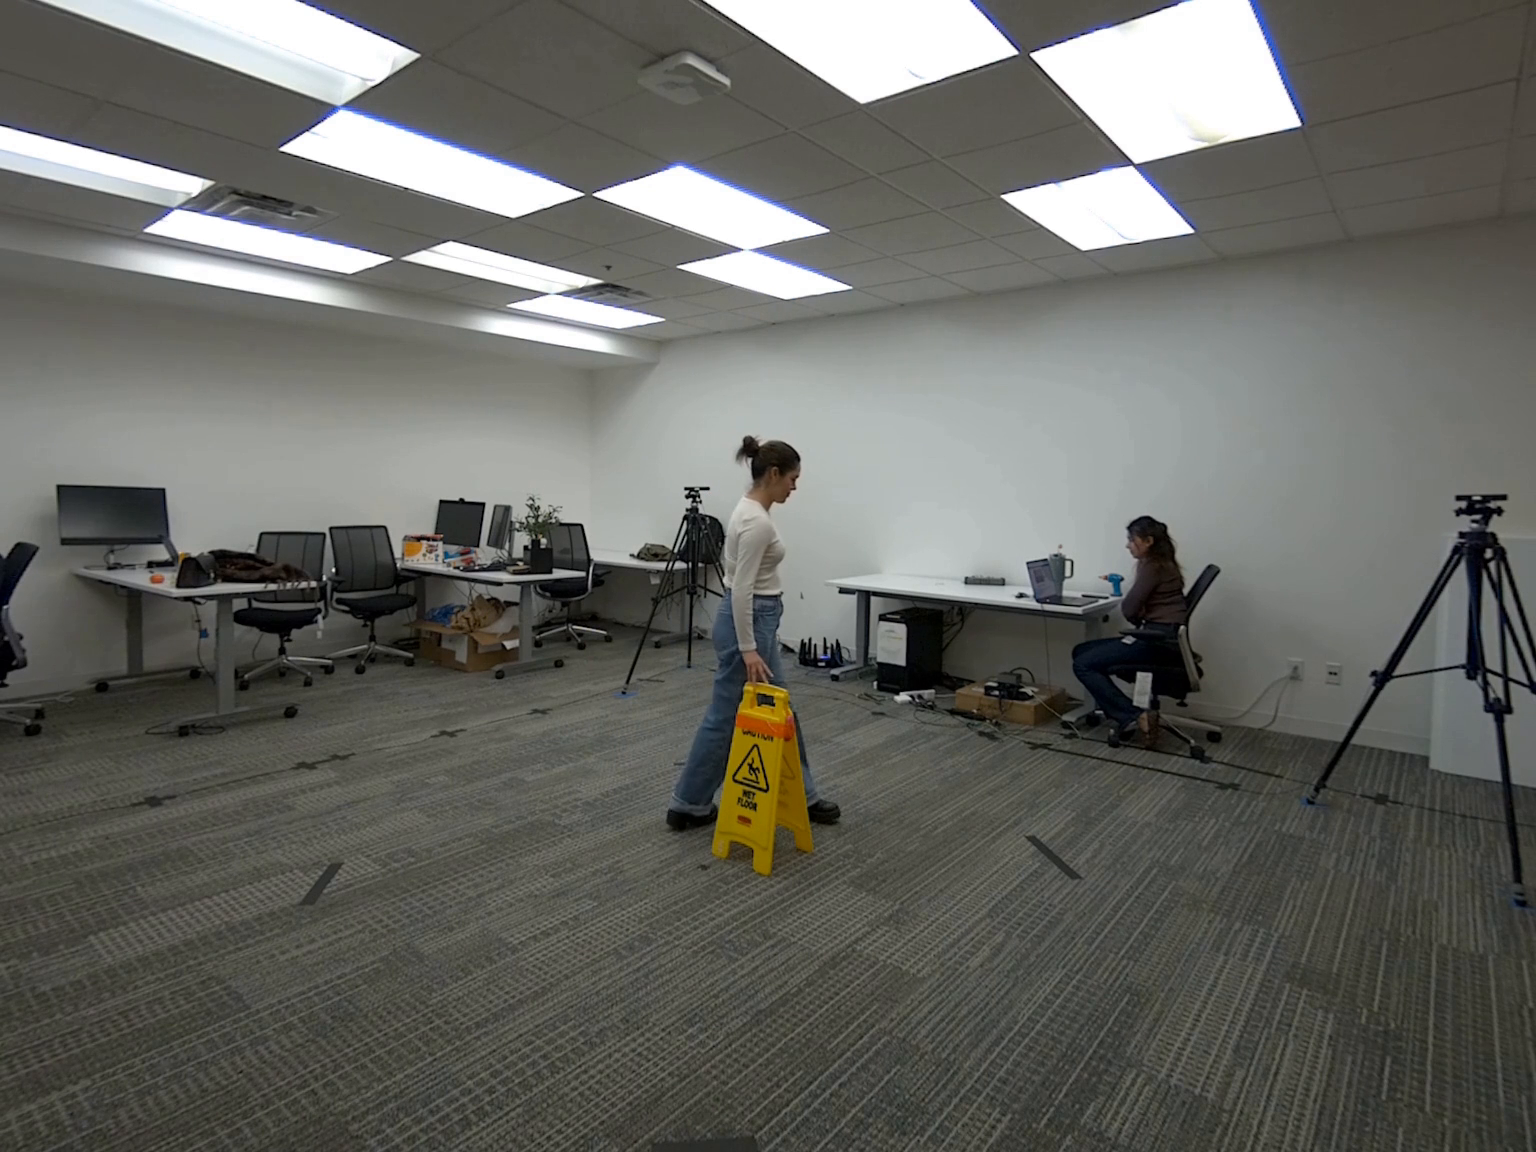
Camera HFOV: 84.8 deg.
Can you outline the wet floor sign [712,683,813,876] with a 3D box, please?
[{"bbox_3d":[-0.018,0.731,3.235,0.292,0.644,0.281,5,4,39],"label":"wet floor sign"}]
